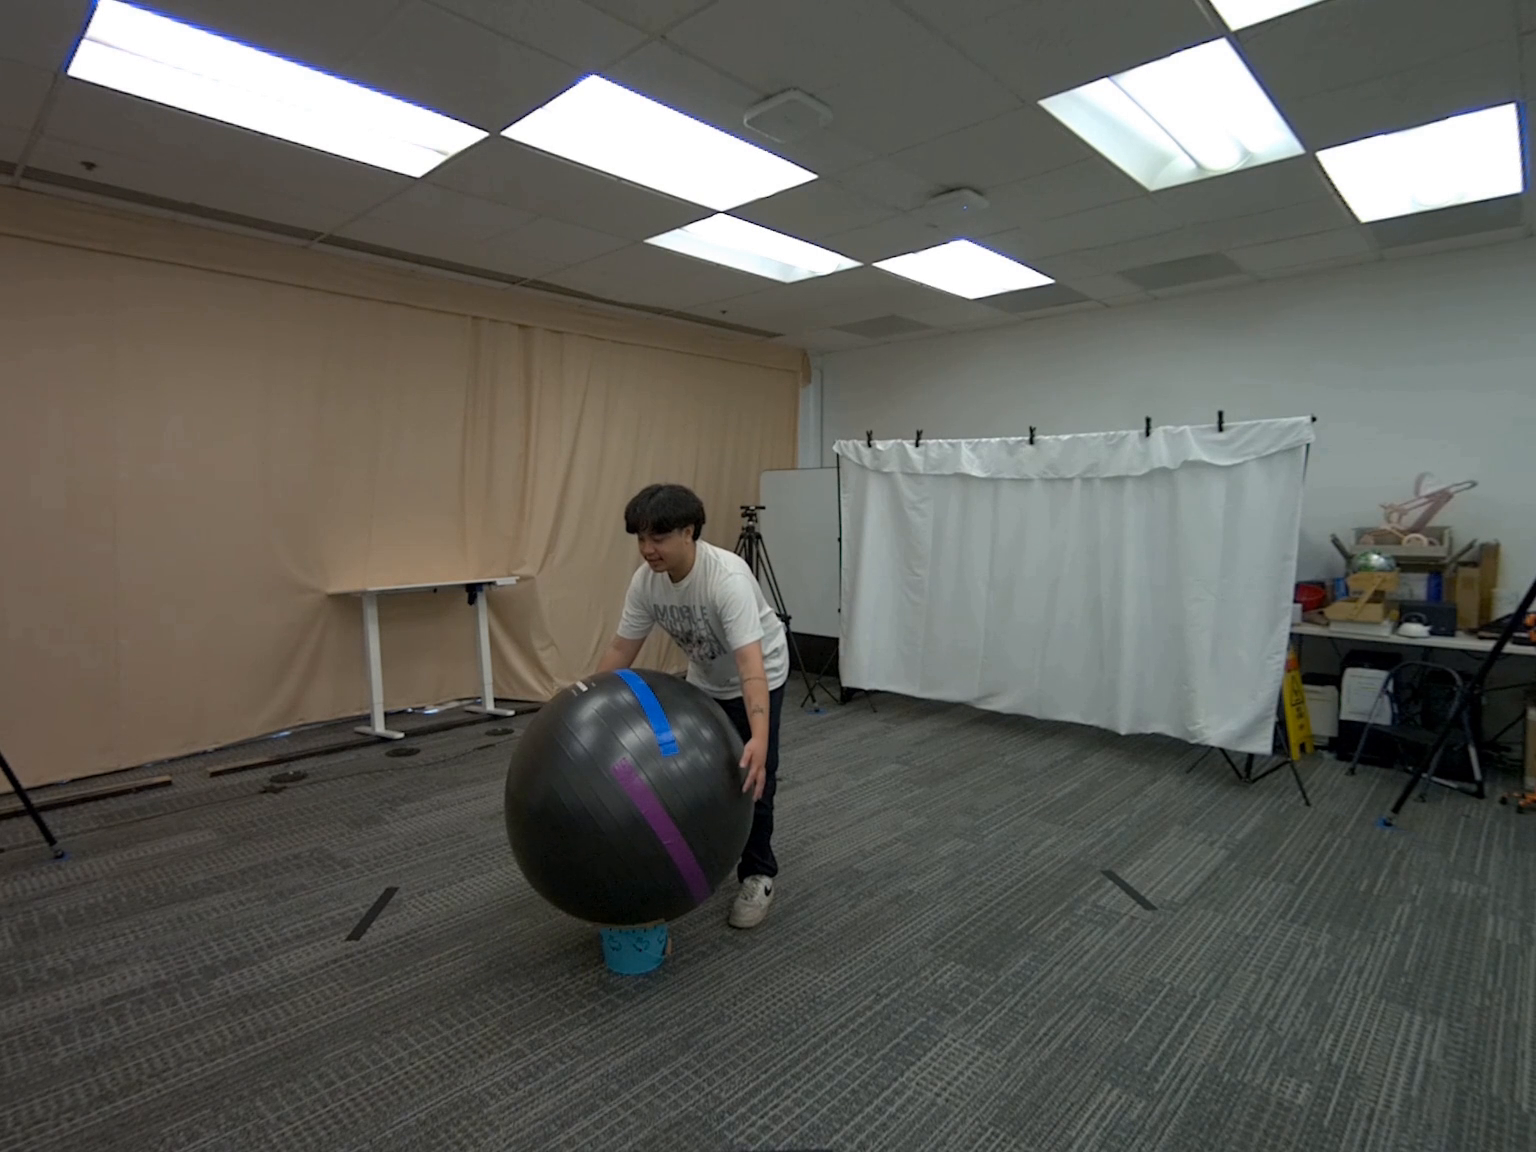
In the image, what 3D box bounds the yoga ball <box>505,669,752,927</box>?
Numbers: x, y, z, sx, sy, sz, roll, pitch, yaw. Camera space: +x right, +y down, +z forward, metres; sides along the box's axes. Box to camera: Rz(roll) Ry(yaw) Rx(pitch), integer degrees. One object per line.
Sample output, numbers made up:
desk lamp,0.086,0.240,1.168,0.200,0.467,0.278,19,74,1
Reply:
yoga ball,-0.419,0.674,2.575,0.757,0.756,0.760,0,4,-2
